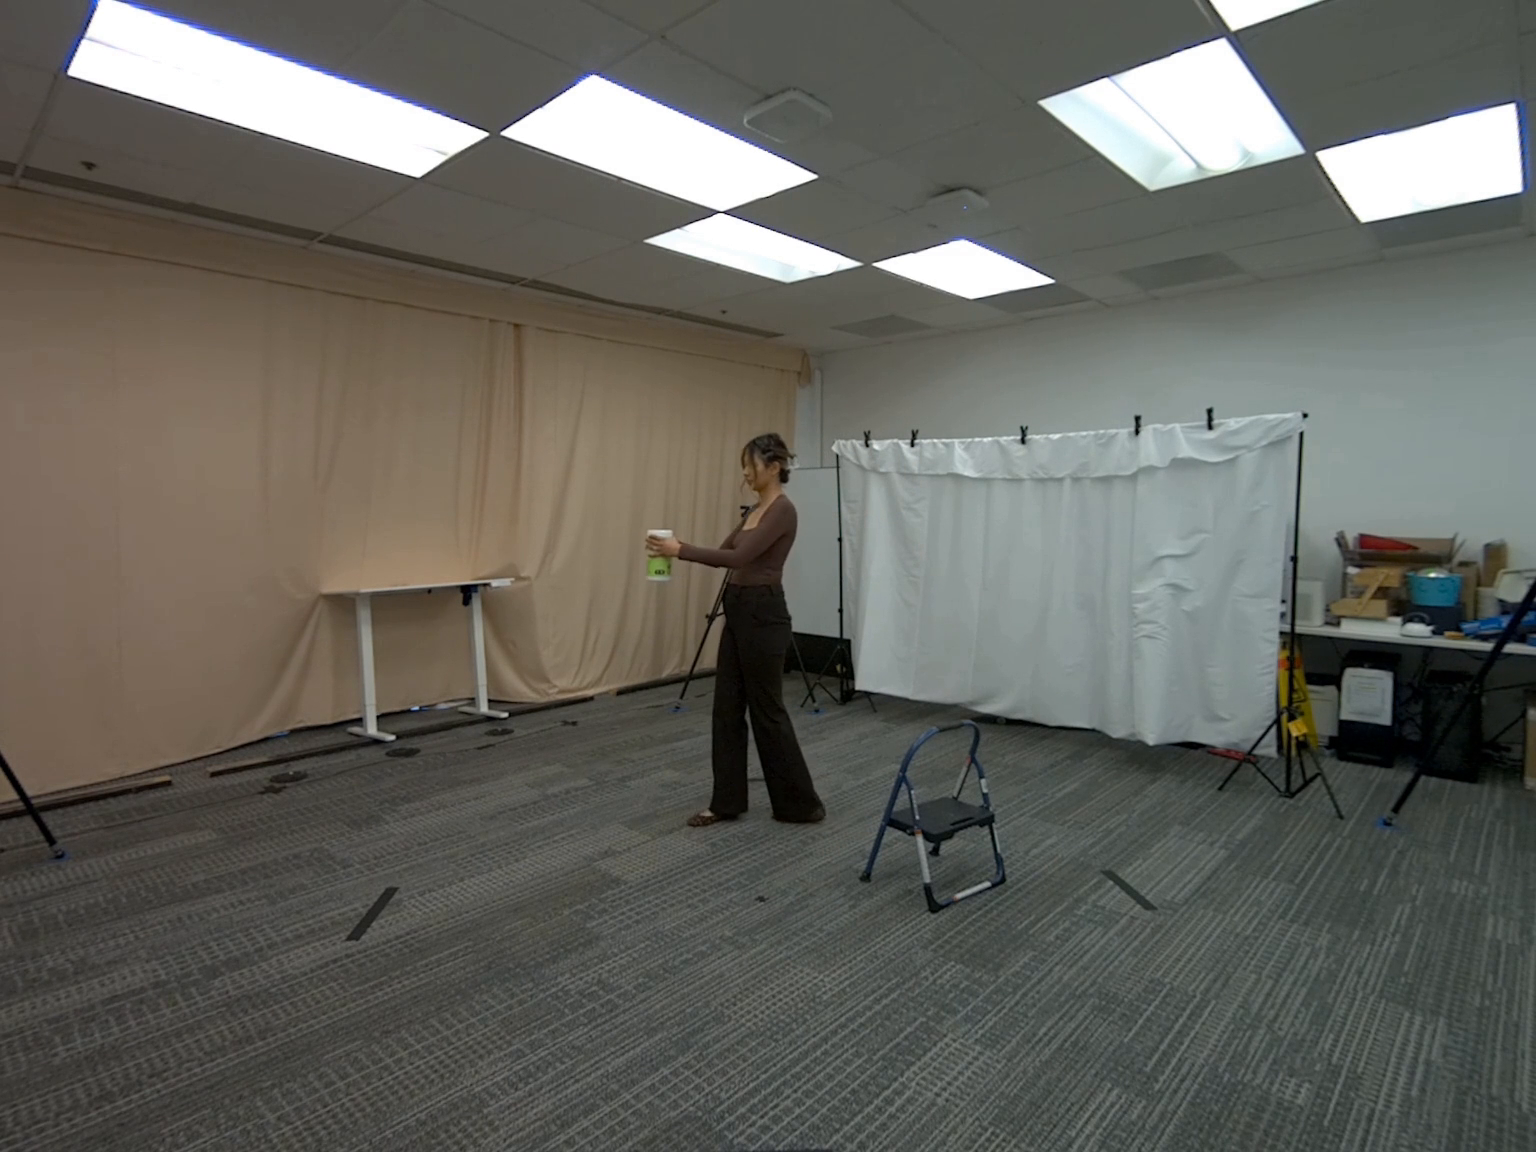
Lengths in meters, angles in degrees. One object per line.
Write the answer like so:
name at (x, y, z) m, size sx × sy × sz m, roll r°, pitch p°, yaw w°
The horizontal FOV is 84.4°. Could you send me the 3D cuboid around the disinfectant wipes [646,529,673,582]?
disinfectant wipes at (-0.464, -0.086, 3.592) m, size 0.117 × 0.217 × 0.118 m, roll 3°, pitch 6°, yaw -2°
